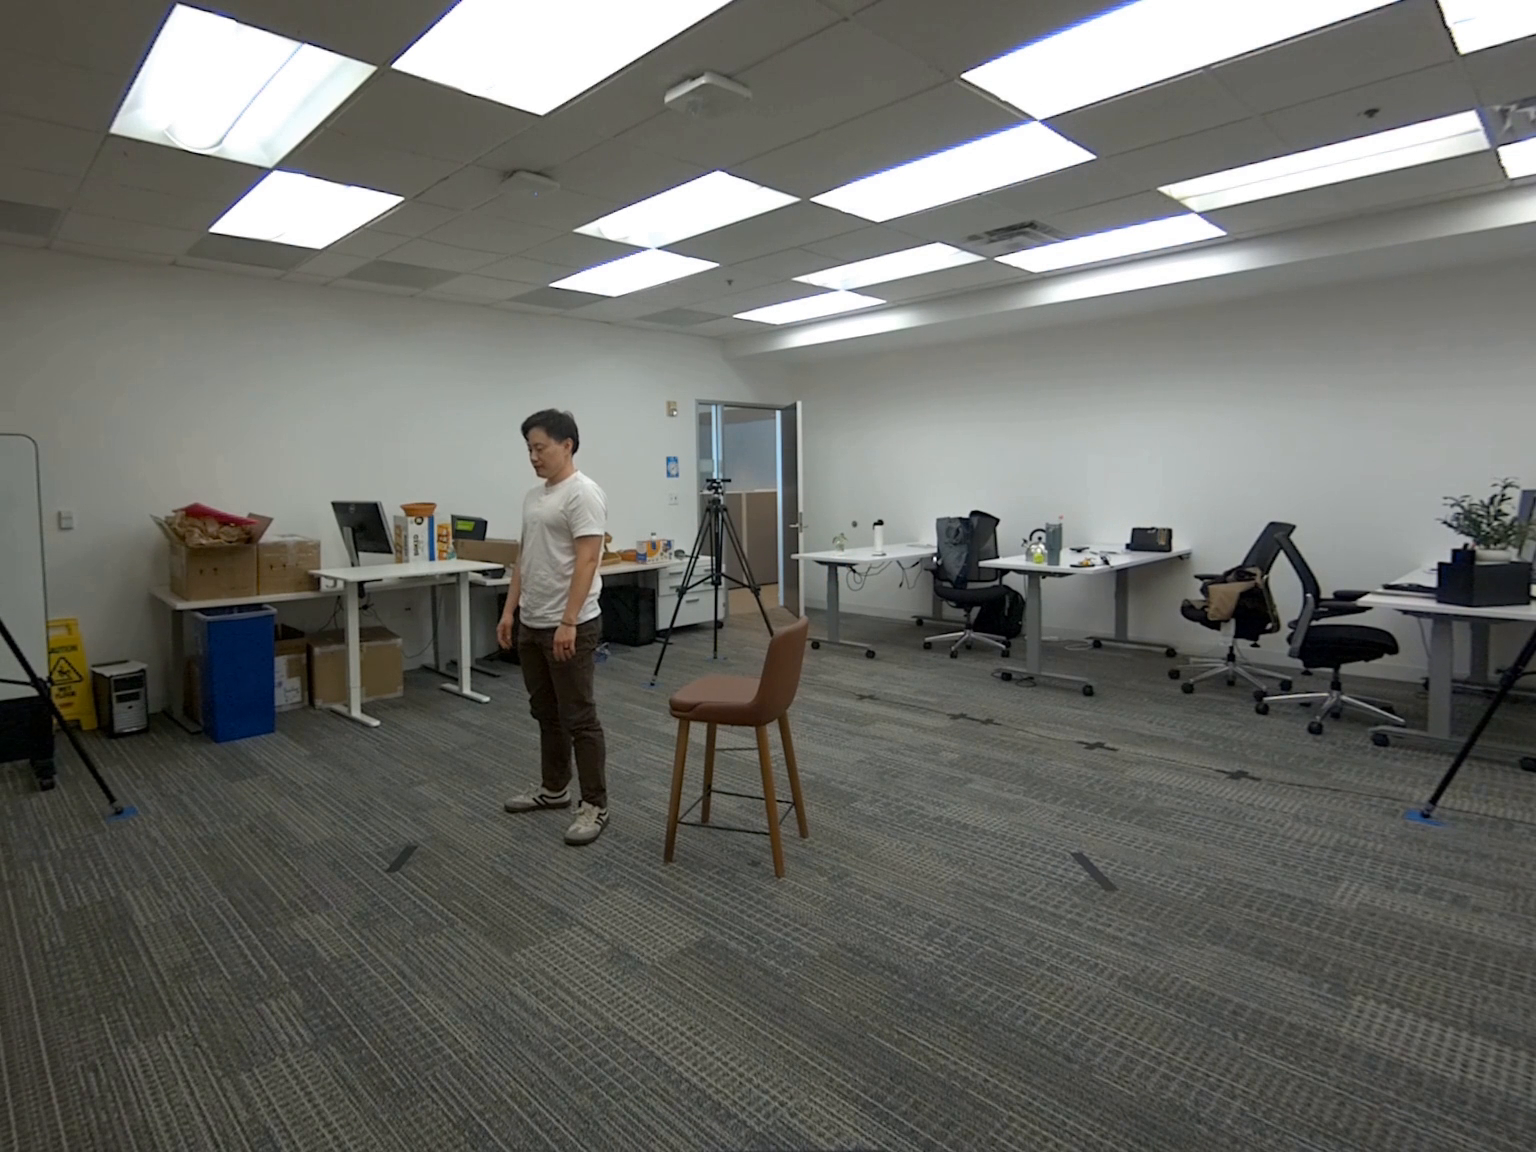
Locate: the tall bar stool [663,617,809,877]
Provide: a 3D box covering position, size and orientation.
[{"bbox_3d":[-0.112,0.600,3.212,0.477,0.886,0.449,2,5,20],"label":"tall bar stool"}]
